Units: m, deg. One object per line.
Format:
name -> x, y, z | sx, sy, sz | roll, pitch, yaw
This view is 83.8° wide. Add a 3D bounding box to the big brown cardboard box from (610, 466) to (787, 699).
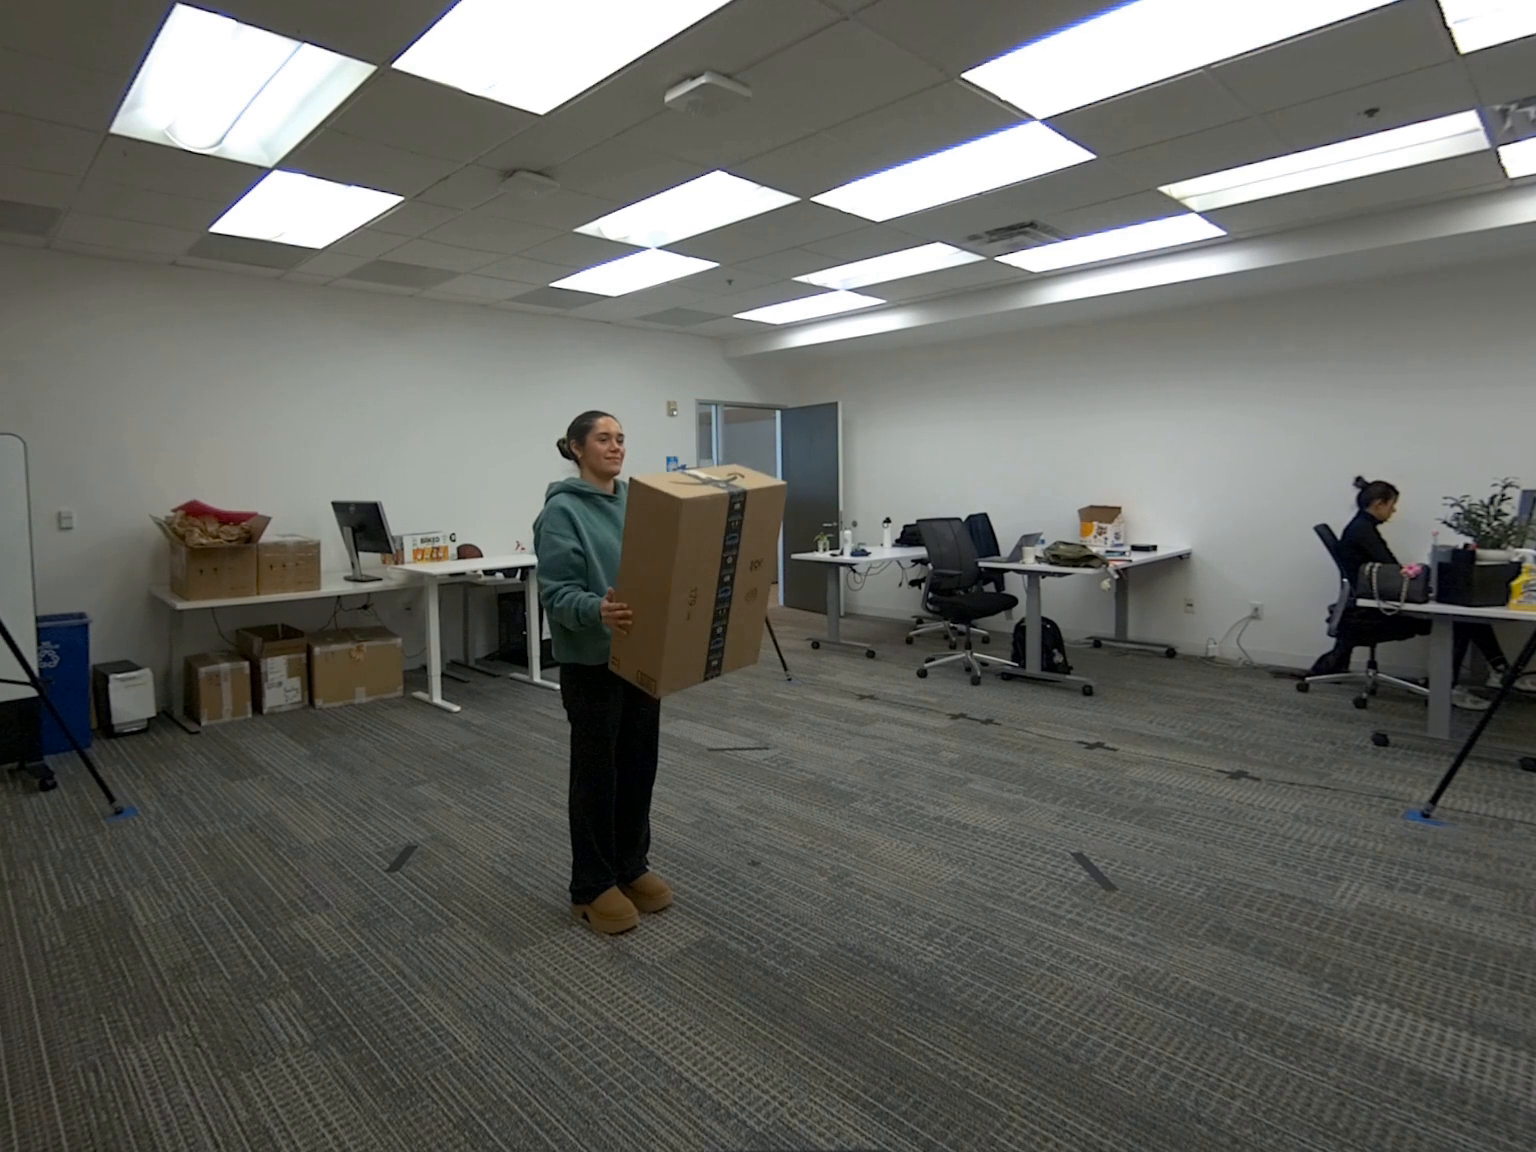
big brown cardboard box -> -0.202, -0.006, 2.417 | 0.242, 0.581, 0.408 | 24, 23, 37
